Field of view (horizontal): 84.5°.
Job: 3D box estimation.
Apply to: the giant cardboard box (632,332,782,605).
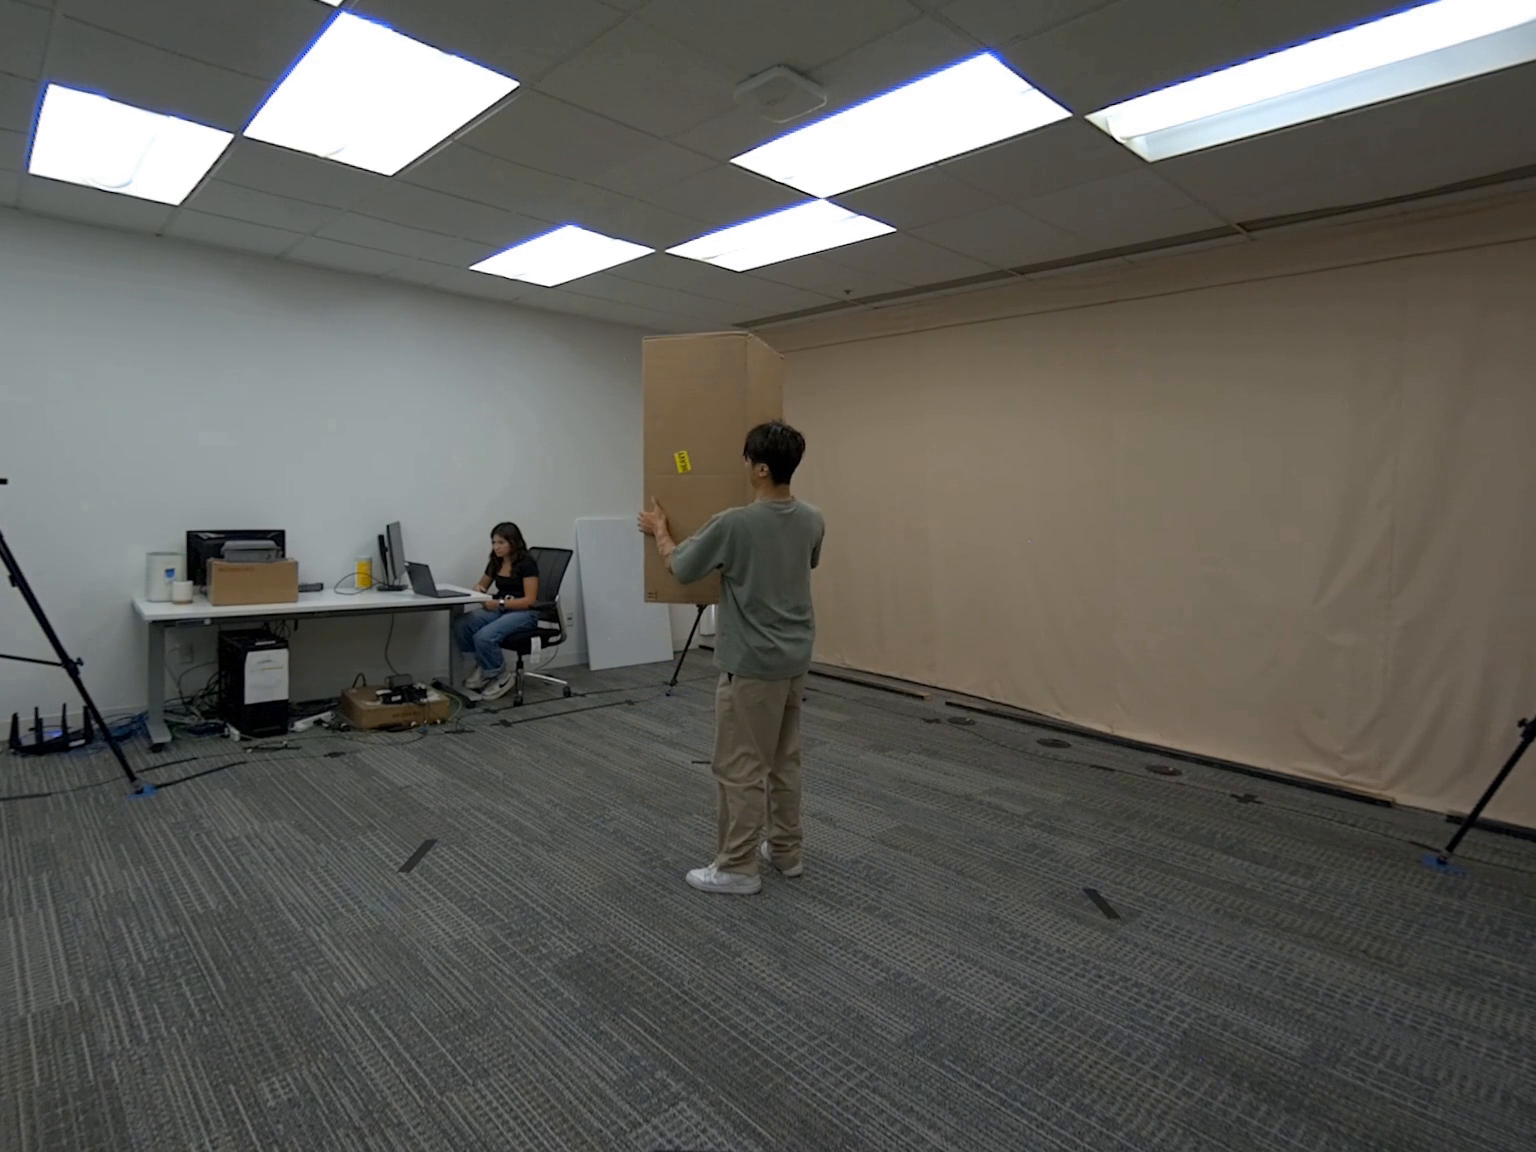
[{"bbox_3d":[-0.216,-0.416,3.466,0.432,1.023,0.571,1,3,15],"label":"giant cardboard box"}]
